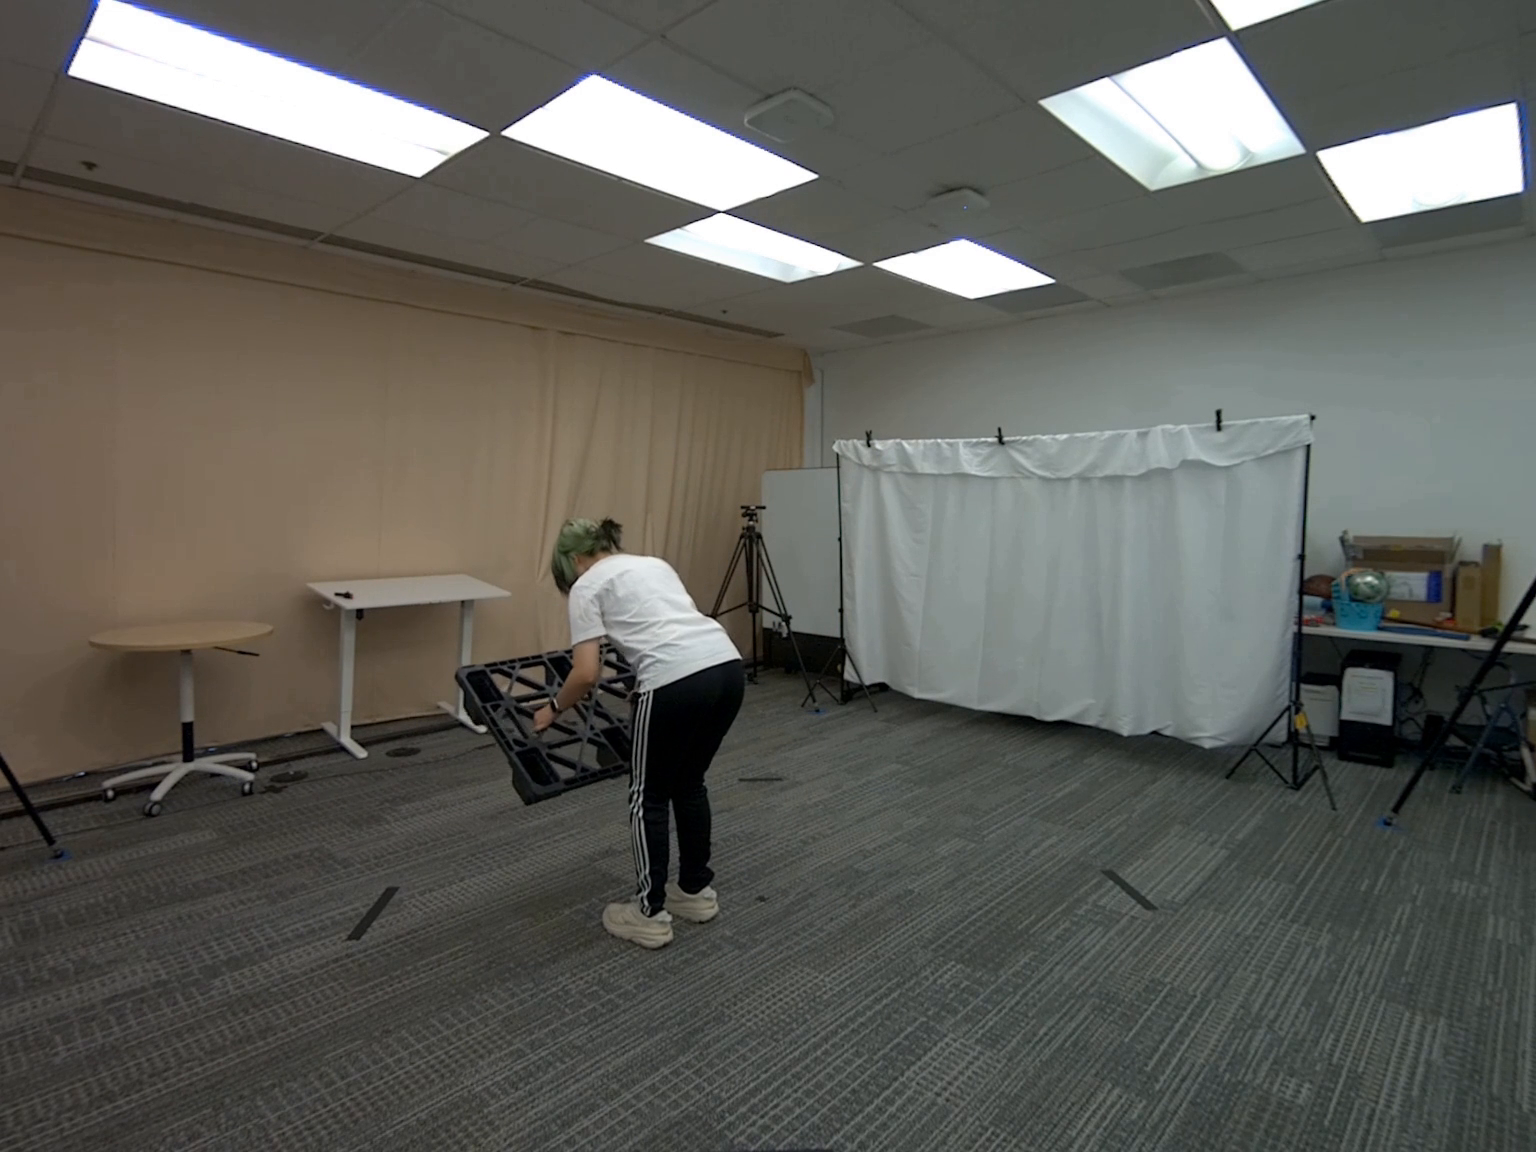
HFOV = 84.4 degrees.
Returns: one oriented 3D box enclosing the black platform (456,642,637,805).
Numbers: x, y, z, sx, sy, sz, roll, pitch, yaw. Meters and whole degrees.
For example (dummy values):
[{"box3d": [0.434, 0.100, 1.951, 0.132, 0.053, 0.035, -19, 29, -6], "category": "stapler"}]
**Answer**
[{"box3d": [-0.652, 0.521, 3.052, 0.781, 0.143, 0.625, -7, 41, -46], "category": "black platform"}]
